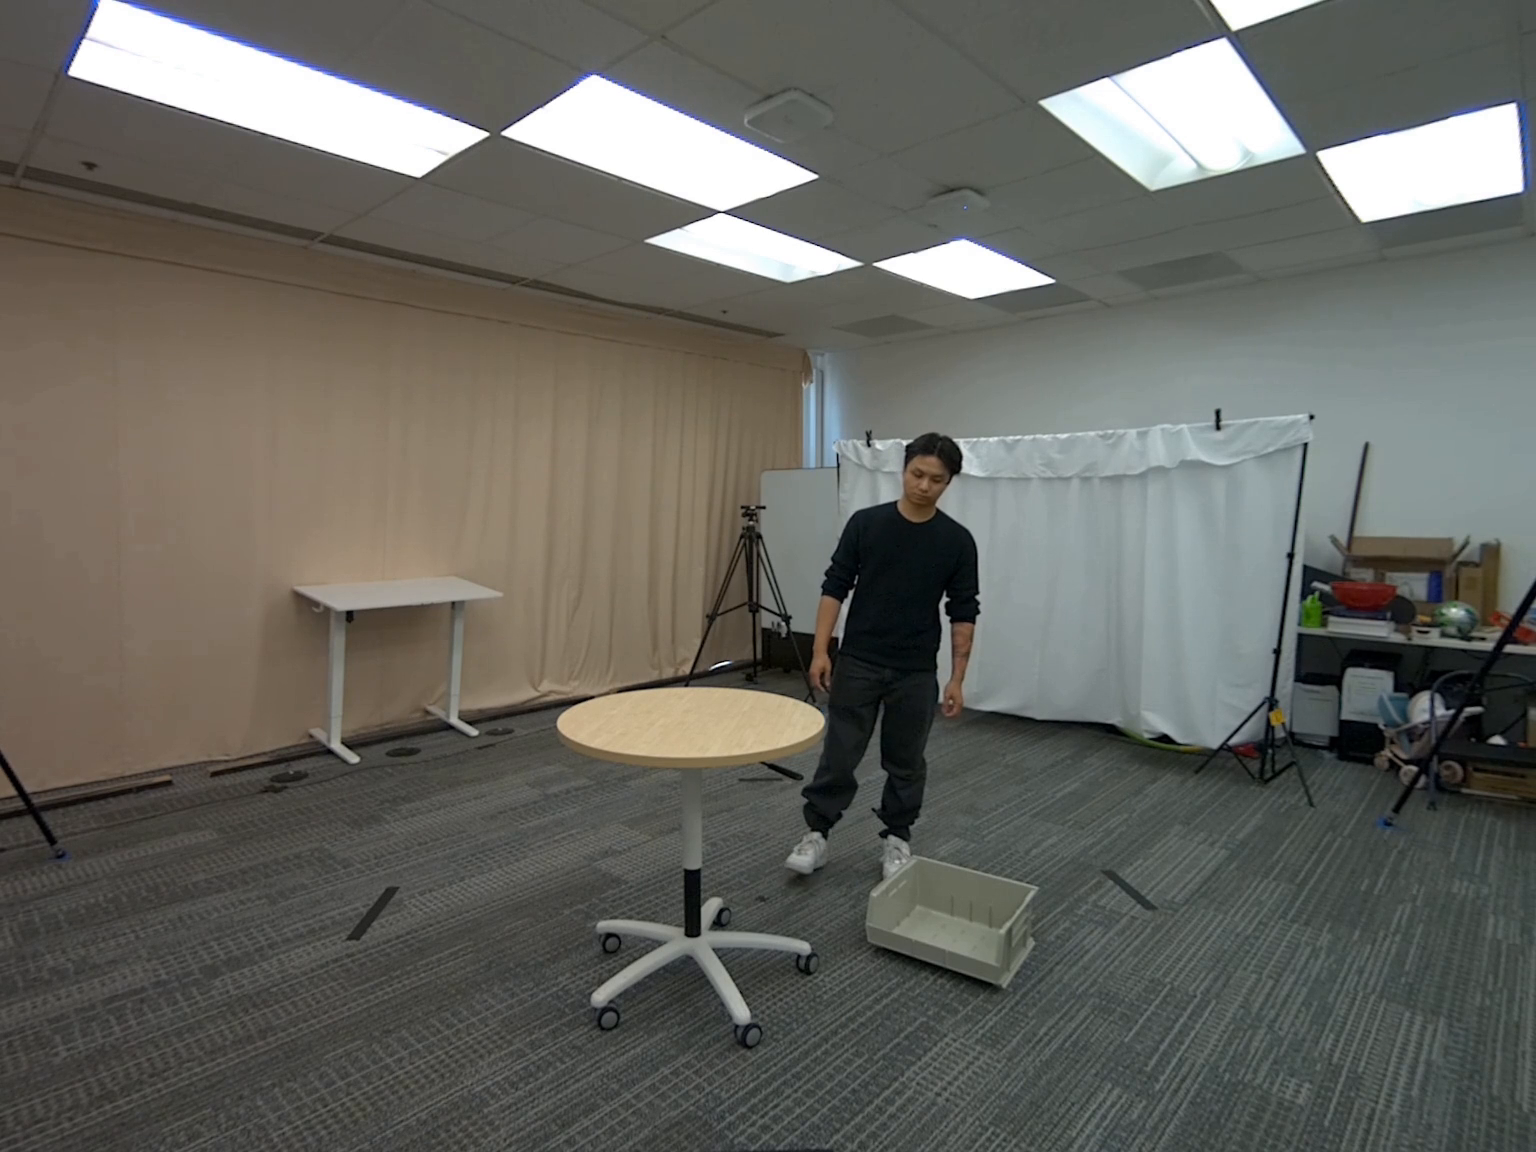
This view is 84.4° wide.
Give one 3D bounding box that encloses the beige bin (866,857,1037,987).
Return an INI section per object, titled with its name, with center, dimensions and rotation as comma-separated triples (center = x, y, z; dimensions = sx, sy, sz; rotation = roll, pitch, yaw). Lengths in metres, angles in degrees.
[beige bin]
center = 0.588, 1.081, 2.647
dimensions = 0.435, 0.188, 0.367
rotation = 2, 5, 33
